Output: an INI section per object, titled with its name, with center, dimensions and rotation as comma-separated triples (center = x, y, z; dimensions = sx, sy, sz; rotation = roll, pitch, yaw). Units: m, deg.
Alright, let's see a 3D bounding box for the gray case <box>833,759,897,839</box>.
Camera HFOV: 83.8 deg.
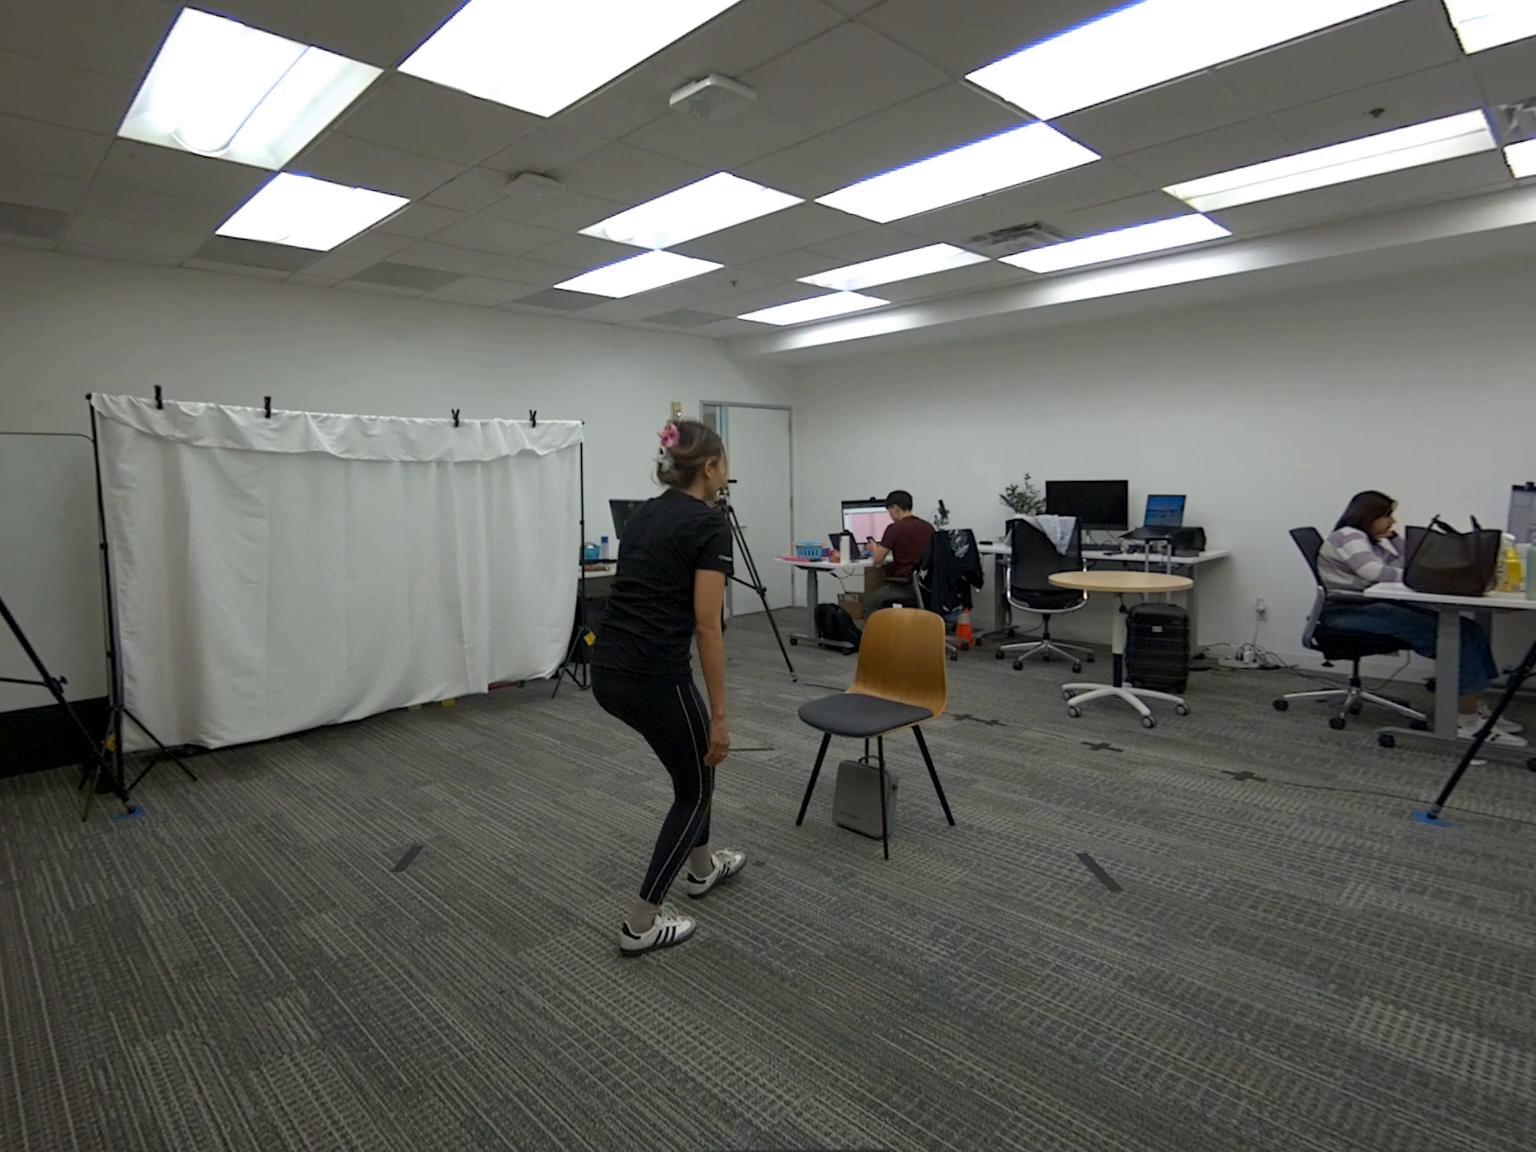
[gray case]
center = 0.388, 0.880, 3.399
dimensions = 0.101, 0.261, 0.265
rotation = 9, -3, -40
